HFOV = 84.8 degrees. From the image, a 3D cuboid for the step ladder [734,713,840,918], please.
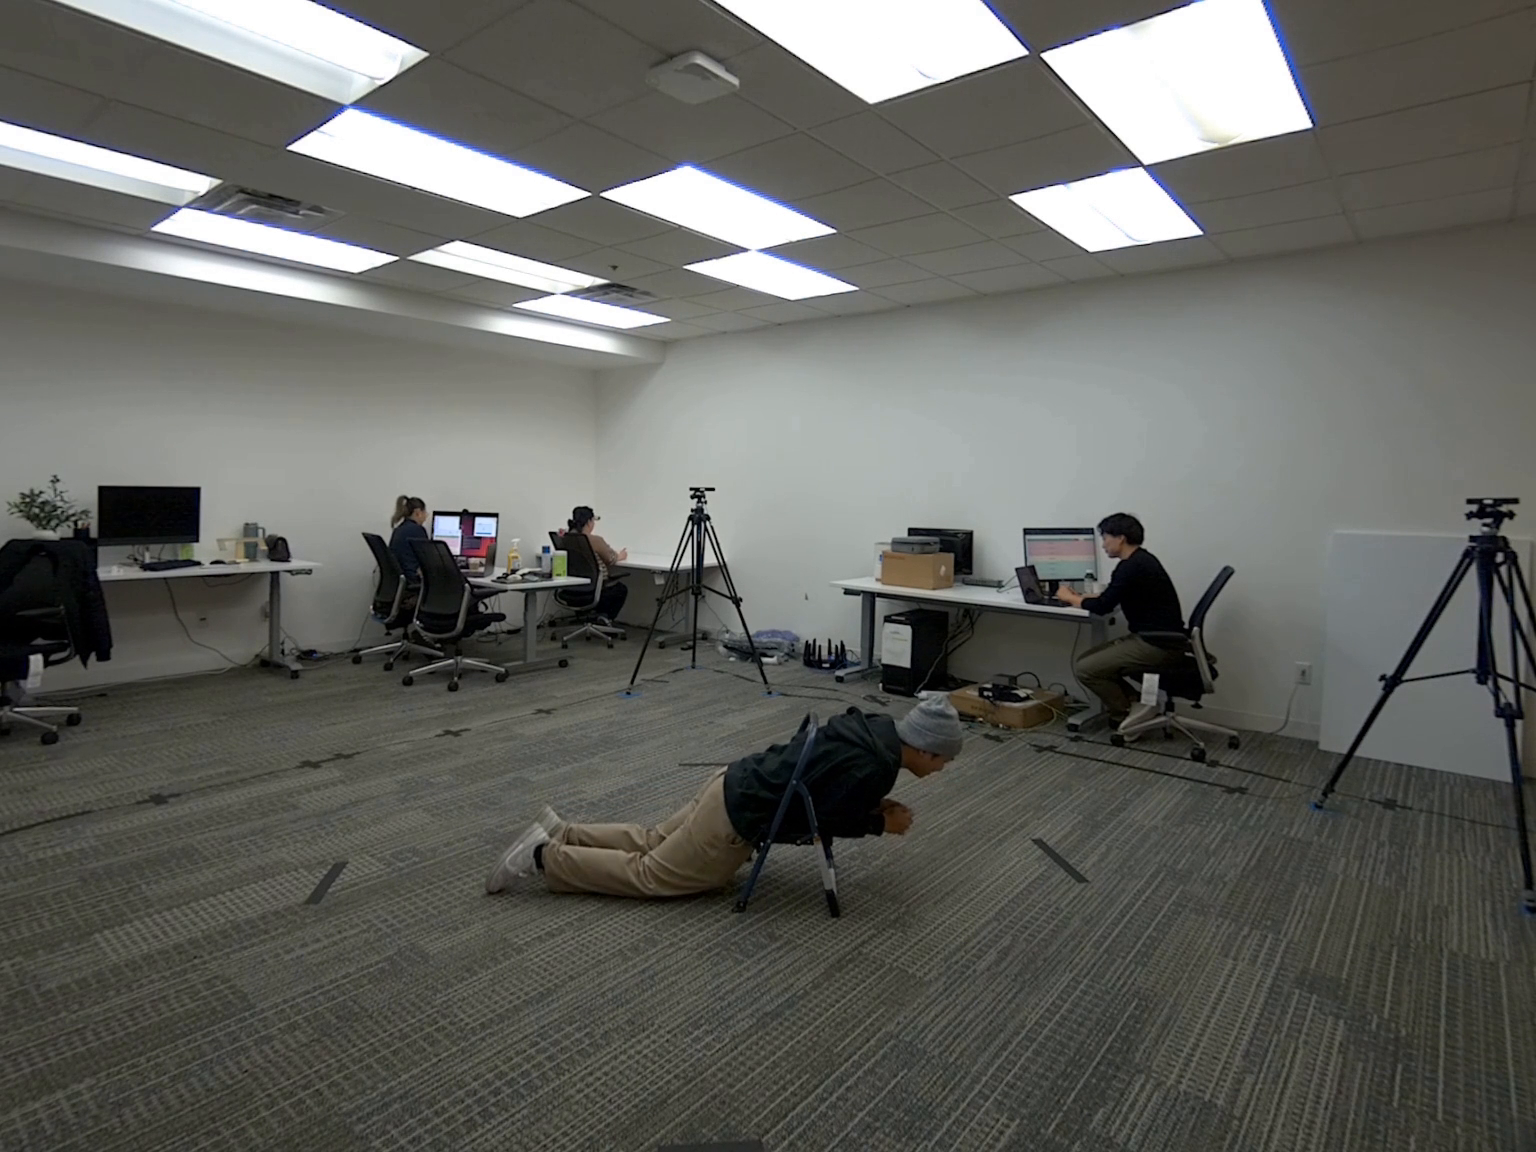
[{"bbox_3d":[0.072,0.785,2.970,0.350,0.604,0.431,1,4,1],"label":"step ladder"}]
